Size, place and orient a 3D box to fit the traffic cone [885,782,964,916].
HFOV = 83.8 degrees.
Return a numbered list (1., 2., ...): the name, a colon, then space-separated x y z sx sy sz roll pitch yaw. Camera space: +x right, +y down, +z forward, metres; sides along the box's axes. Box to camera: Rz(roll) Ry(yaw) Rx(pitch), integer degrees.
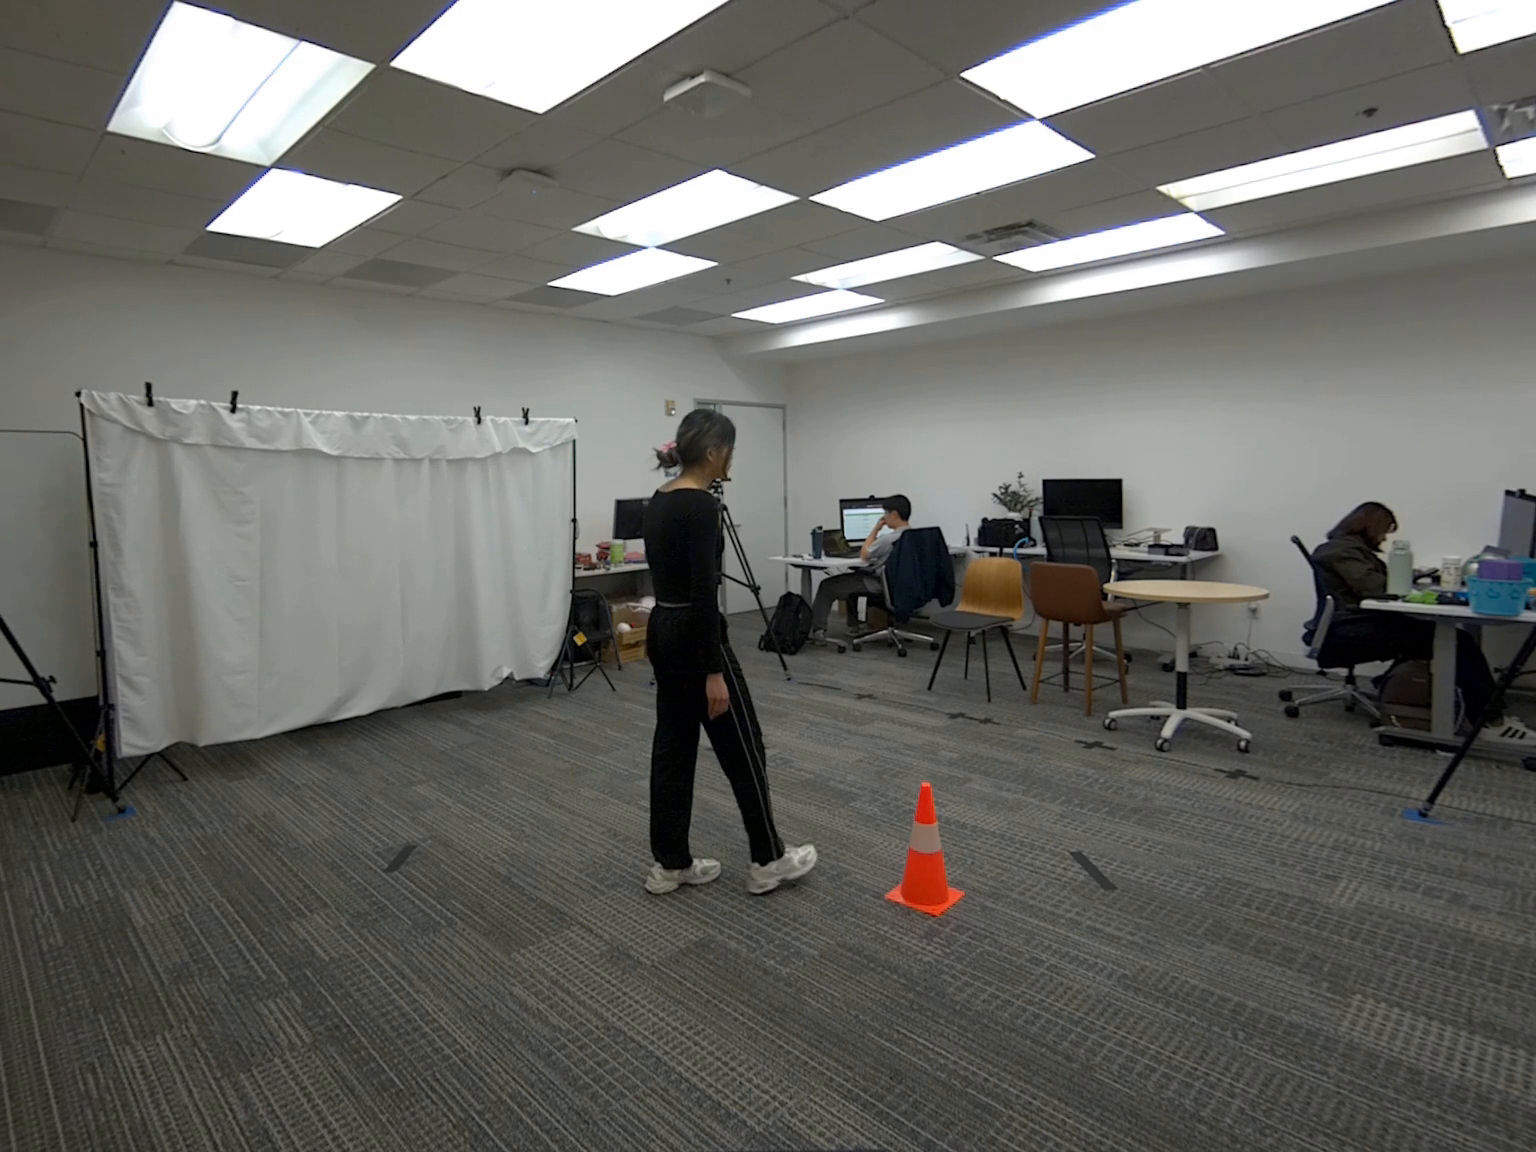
1. traffic cone: 0.514 0.873 2.830 0.209 0.382 0.200 2 6 41
